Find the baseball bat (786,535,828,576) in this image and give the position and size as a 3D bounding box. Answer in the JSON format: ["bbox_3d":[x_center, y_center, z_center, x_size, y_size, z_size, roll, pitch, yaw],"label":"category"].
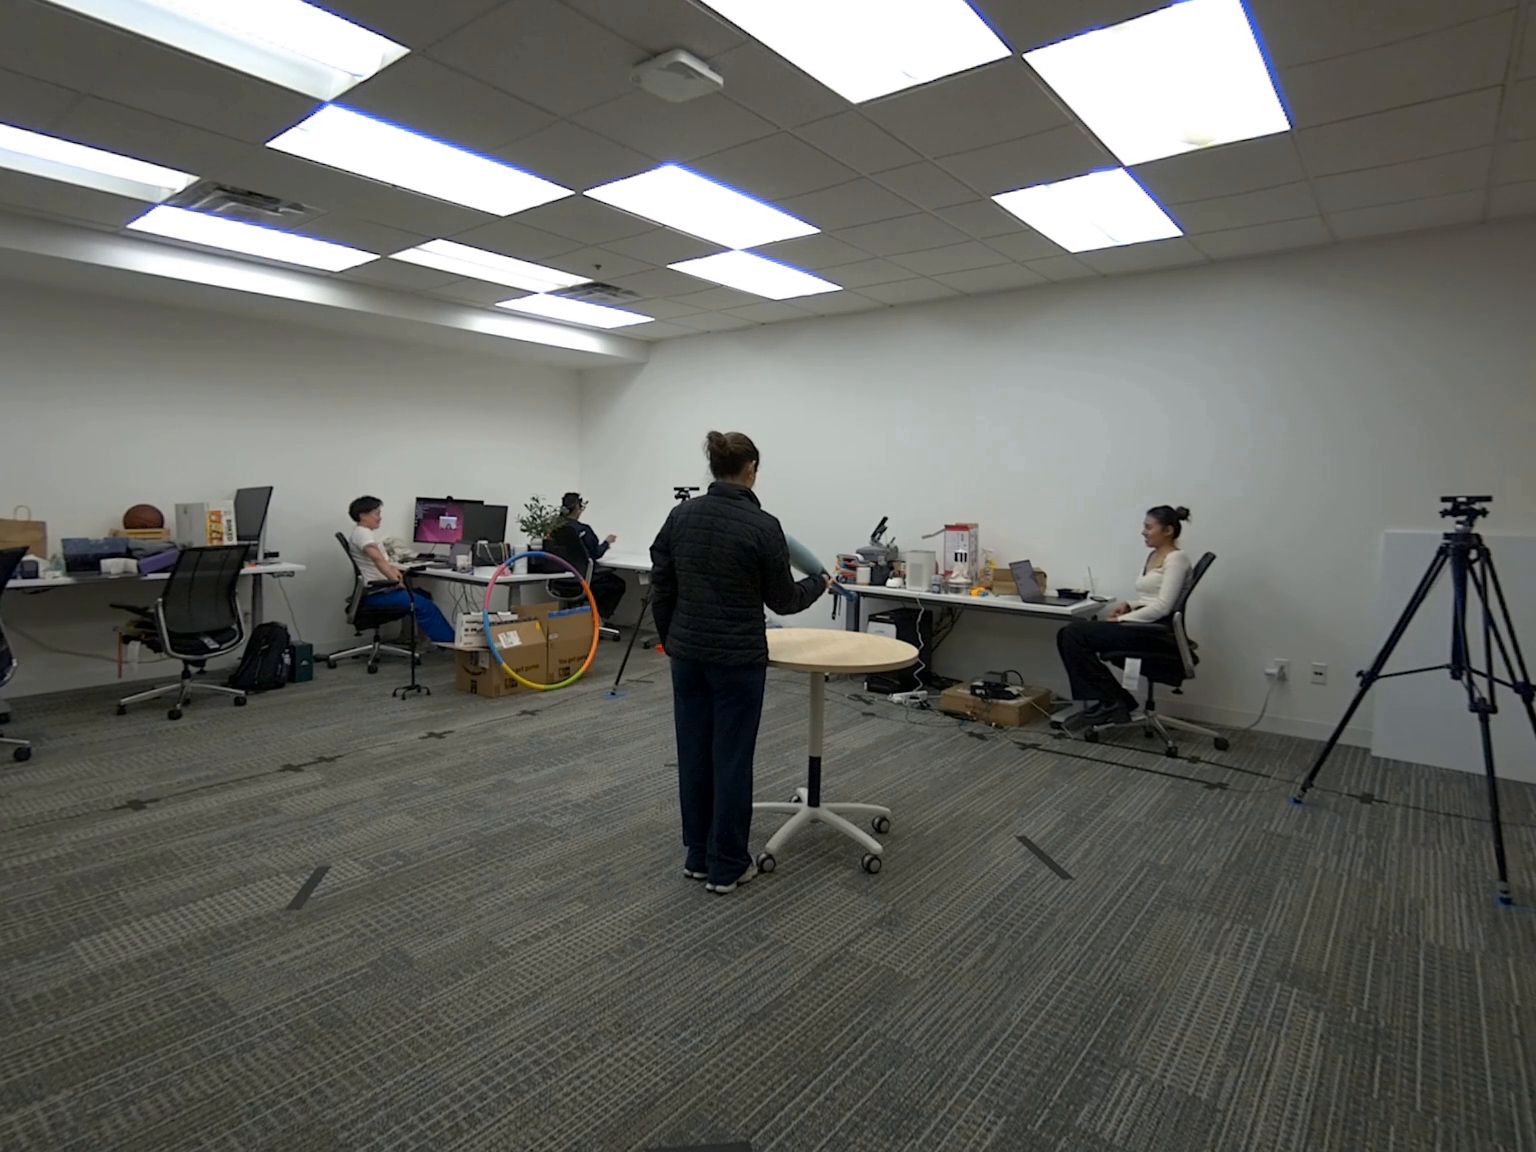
[{"bbox_3d":[0.206,-0.019,3.283,0.092,0.090,0.520,4,-23,43],"label":"baseball bat"}]
